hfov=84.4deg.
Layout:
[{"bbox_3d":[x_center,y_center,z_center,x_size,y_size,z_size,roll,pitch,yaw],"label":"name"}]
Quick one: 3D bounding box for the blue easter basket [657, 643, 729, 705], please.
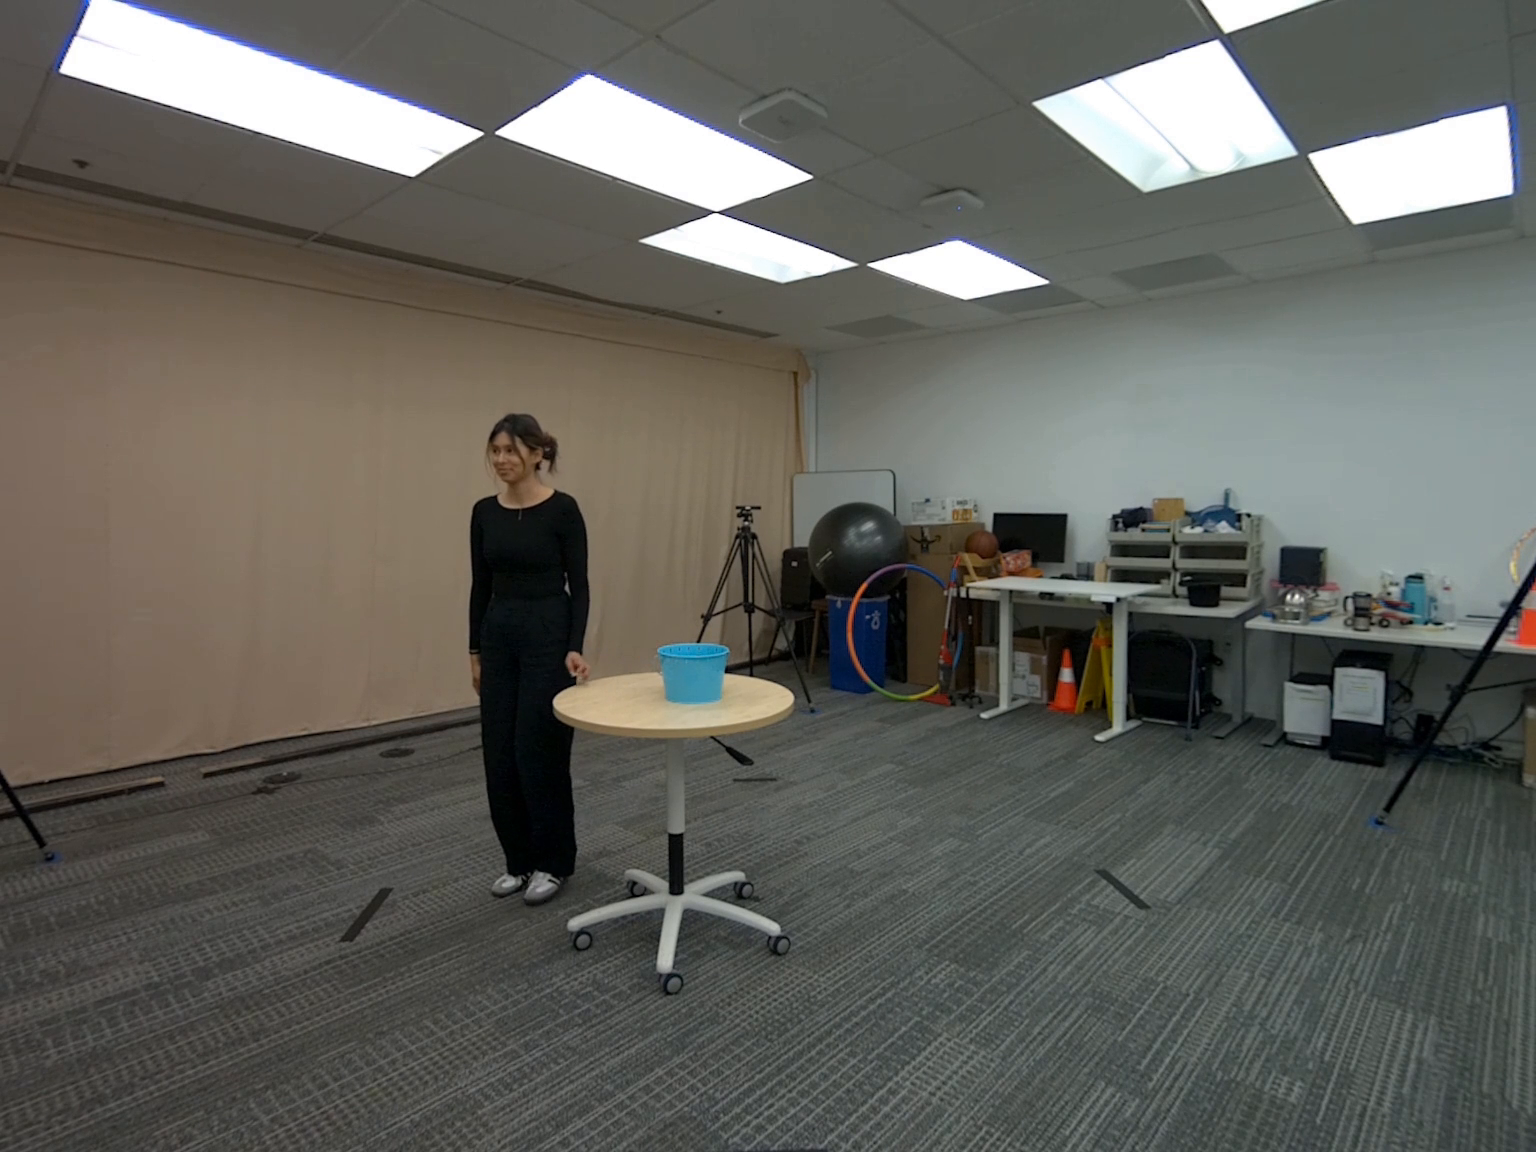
[{"bbox_3d":[-0.234,0.316,2.684,0.243,0.155,0.244,0,5,-2],"label":"blue easter basket"}]
